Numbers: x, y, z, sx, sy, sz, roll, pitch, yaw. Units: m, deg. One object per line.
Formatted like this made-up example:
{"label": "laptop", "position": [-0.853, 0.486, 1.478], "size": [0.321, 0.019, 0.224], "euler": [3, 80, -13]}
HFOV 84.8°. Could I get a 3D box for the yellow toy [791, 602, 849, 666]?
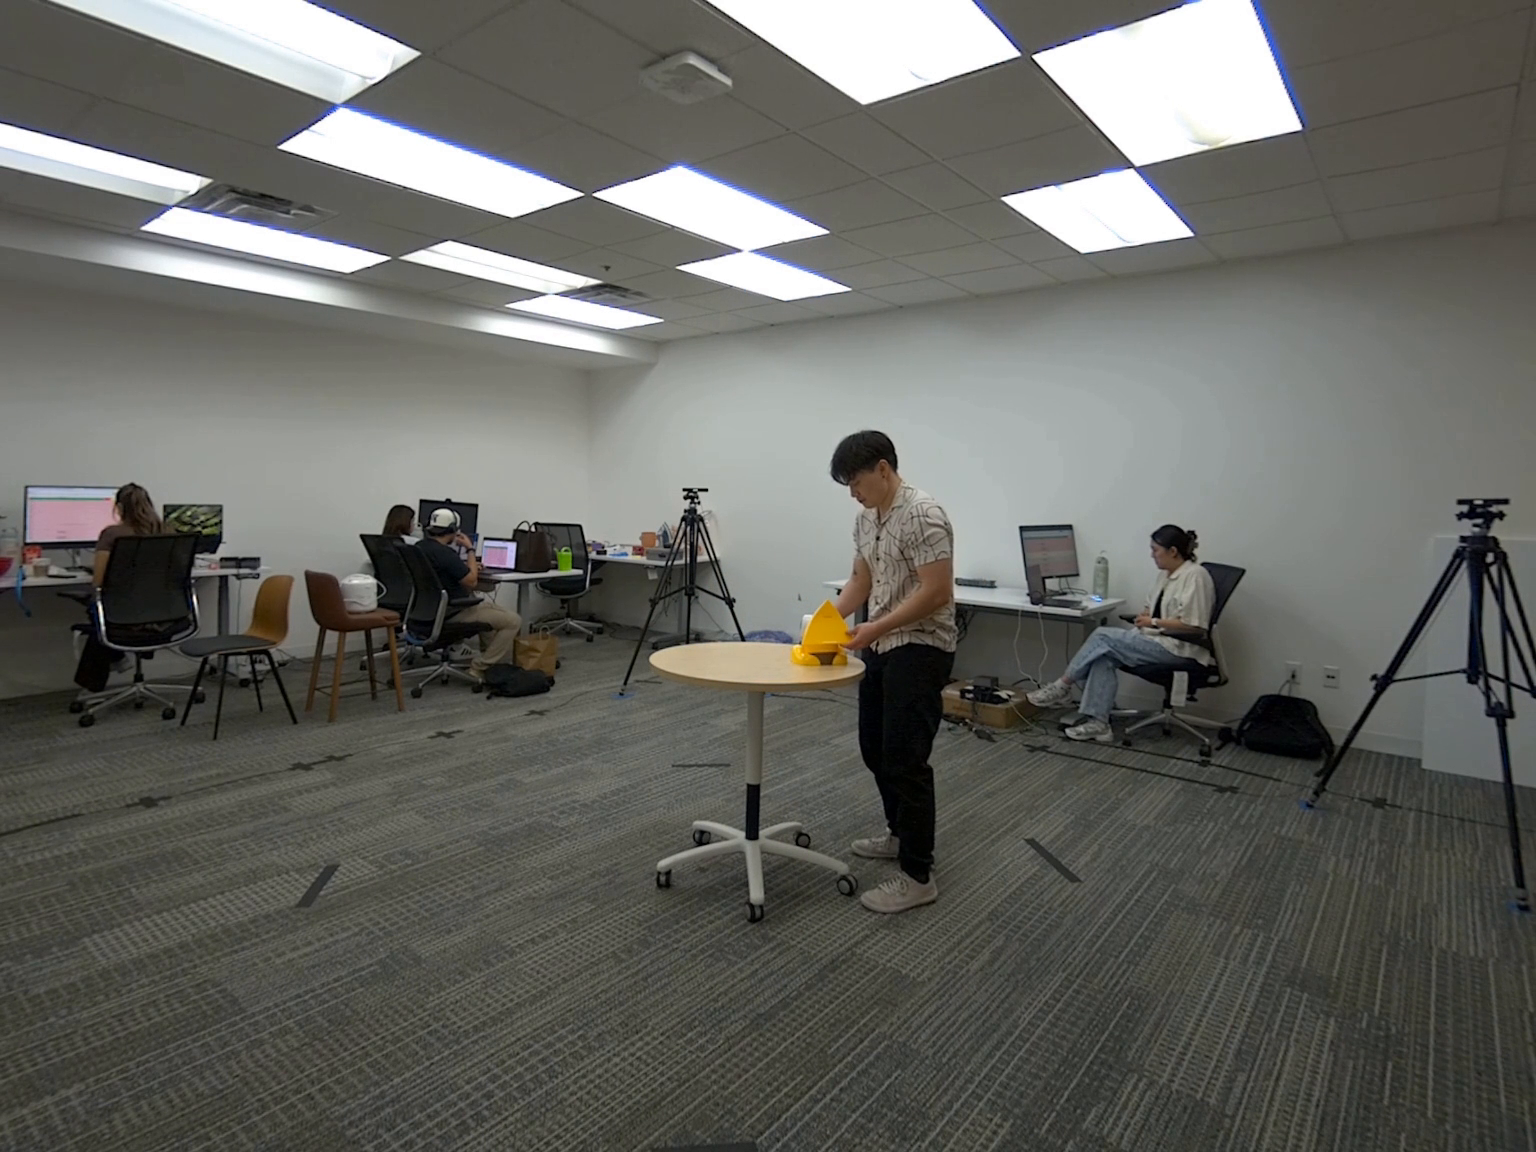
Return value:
{"label": "yellow toy", "position": [0.175, 0.187, 3.039], "size": [0.201, 0.230, 0.197], "euler": [1, 3, -18]}
